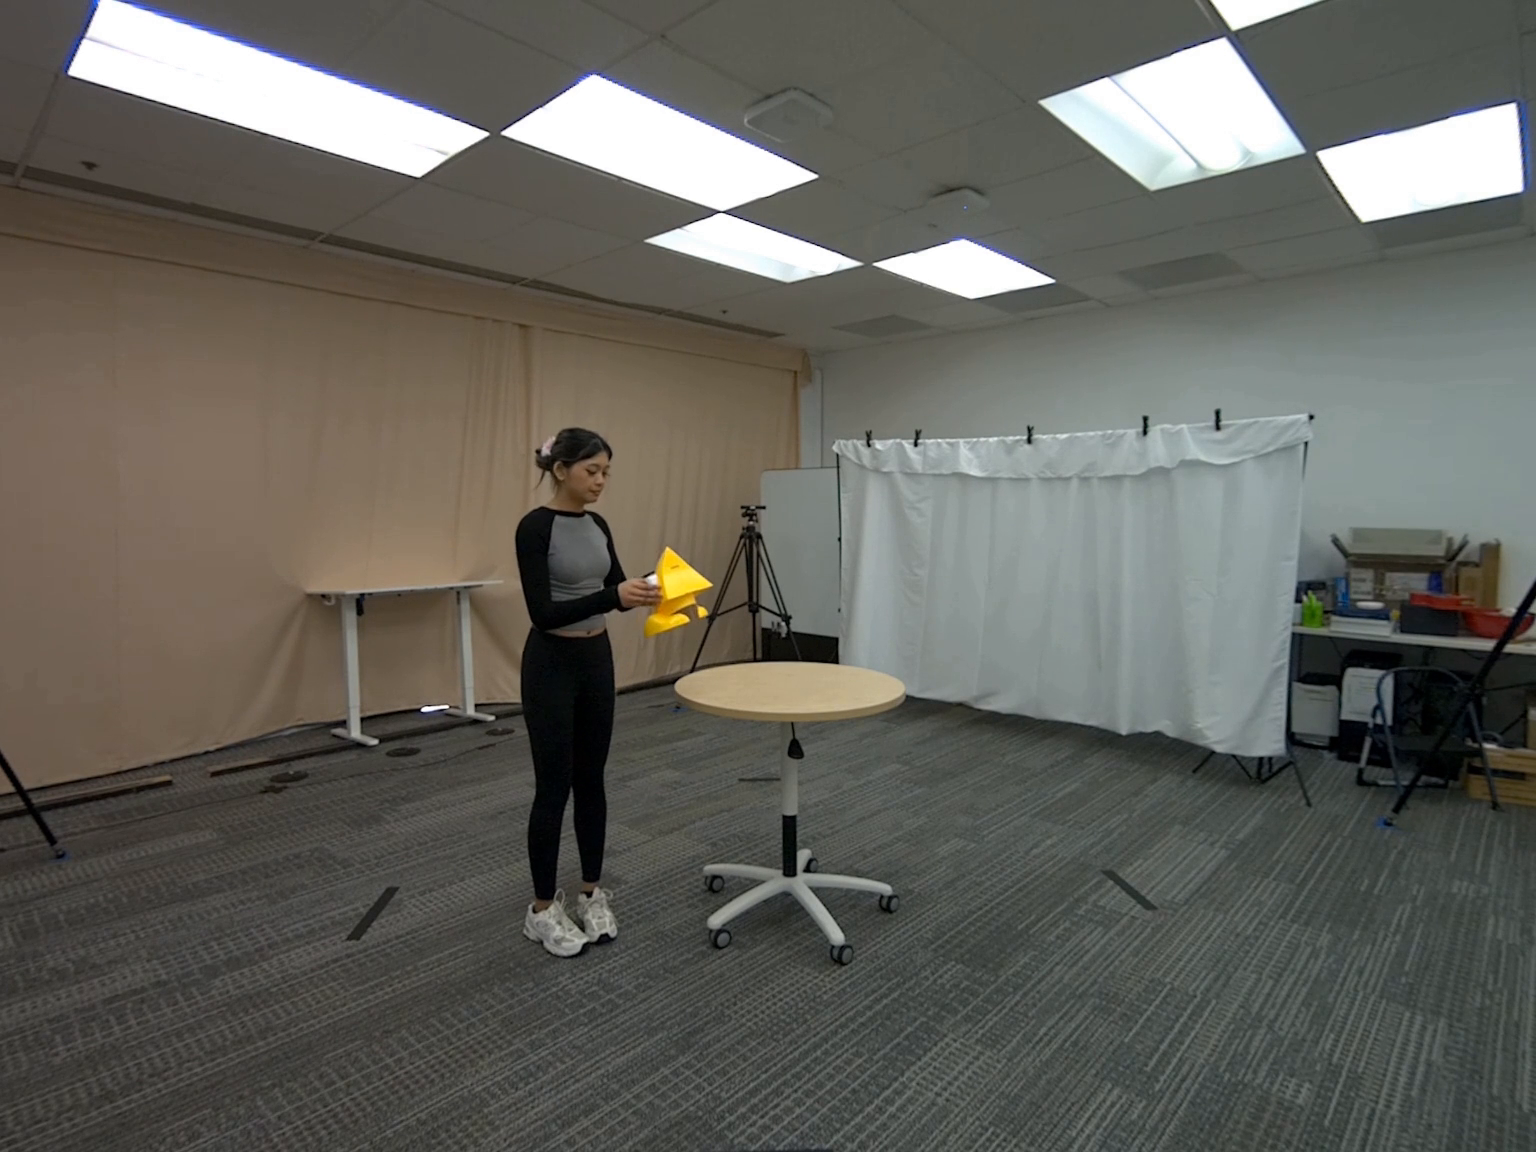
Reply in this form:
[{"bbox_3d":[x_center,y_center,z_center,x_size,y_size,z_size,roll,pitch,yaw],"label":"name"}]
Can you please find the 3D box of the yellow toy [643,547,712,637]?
[{"bbox_3d":[-0.310,0.041,2.523,0.197,0.232,0.199,-23,-5,39],"label":"yellow toy"}]
